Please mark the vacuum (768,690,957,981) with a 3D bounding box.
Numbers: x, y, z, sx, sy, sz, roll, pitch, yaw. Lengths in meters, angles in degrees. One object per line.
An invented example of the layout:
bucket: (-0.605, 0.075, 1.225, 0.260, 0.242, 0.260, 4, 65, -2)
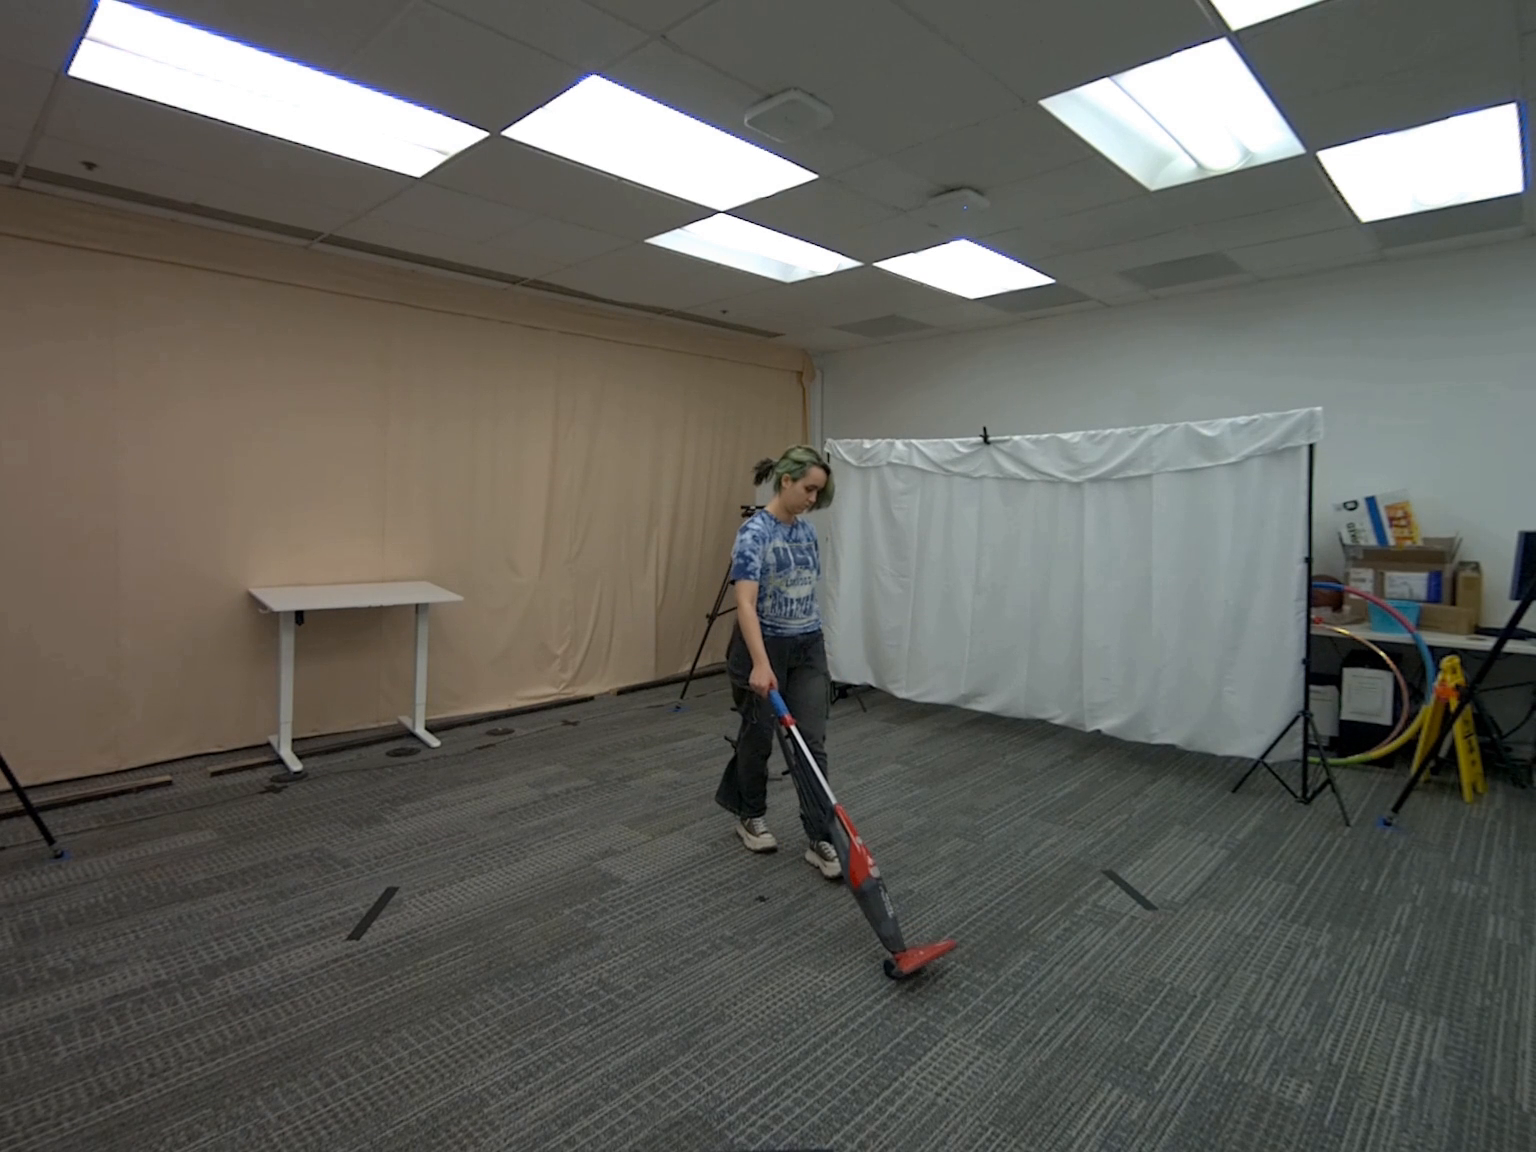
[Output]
vacuum: (0.203, 0.762, 2.744, 0.244, 0.144, 1.080, 1, 46, -43)
